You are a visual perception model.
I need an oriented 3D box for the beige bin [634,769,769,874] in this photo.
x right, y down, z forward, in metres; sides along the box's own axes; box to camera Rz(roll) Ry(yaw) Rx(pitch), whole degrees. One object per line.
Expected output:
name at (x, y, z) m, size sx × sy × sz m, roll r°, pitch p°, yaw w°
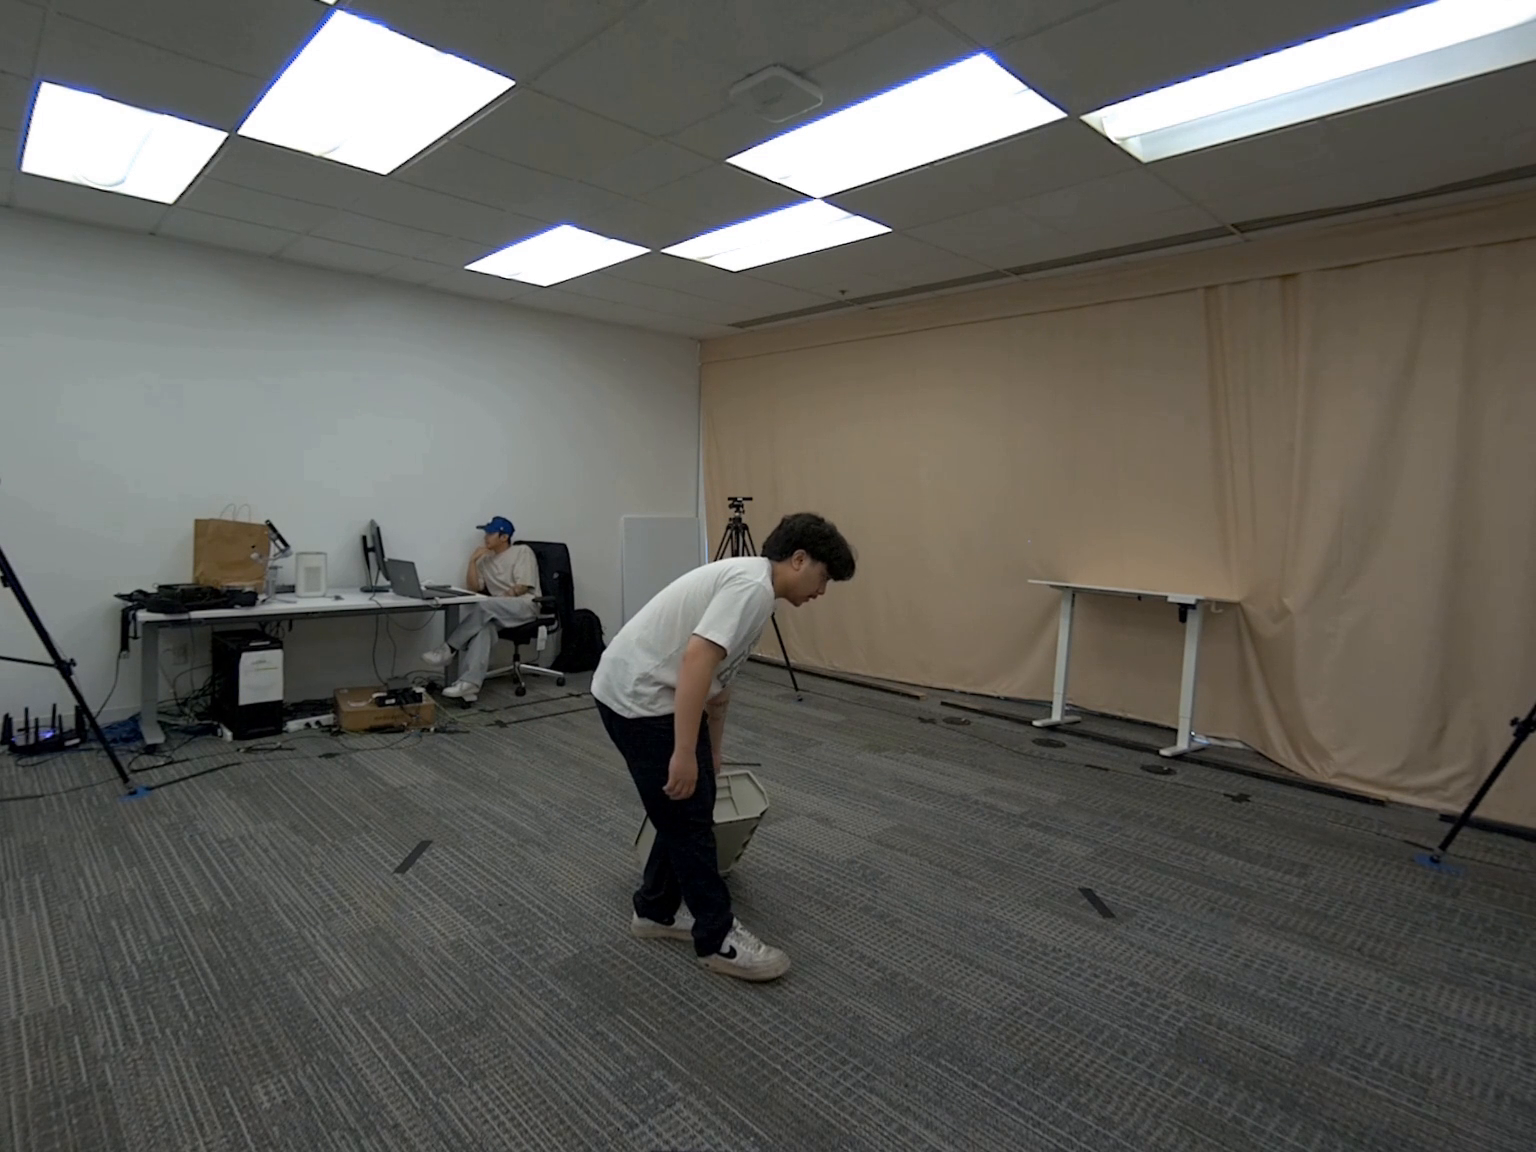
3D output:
beige bin at (-0.243, 0.903, 2.981) m, size 0.371 × 0.417 × 0.194 m, roll -2°, pitch 47°, yaw -25°
